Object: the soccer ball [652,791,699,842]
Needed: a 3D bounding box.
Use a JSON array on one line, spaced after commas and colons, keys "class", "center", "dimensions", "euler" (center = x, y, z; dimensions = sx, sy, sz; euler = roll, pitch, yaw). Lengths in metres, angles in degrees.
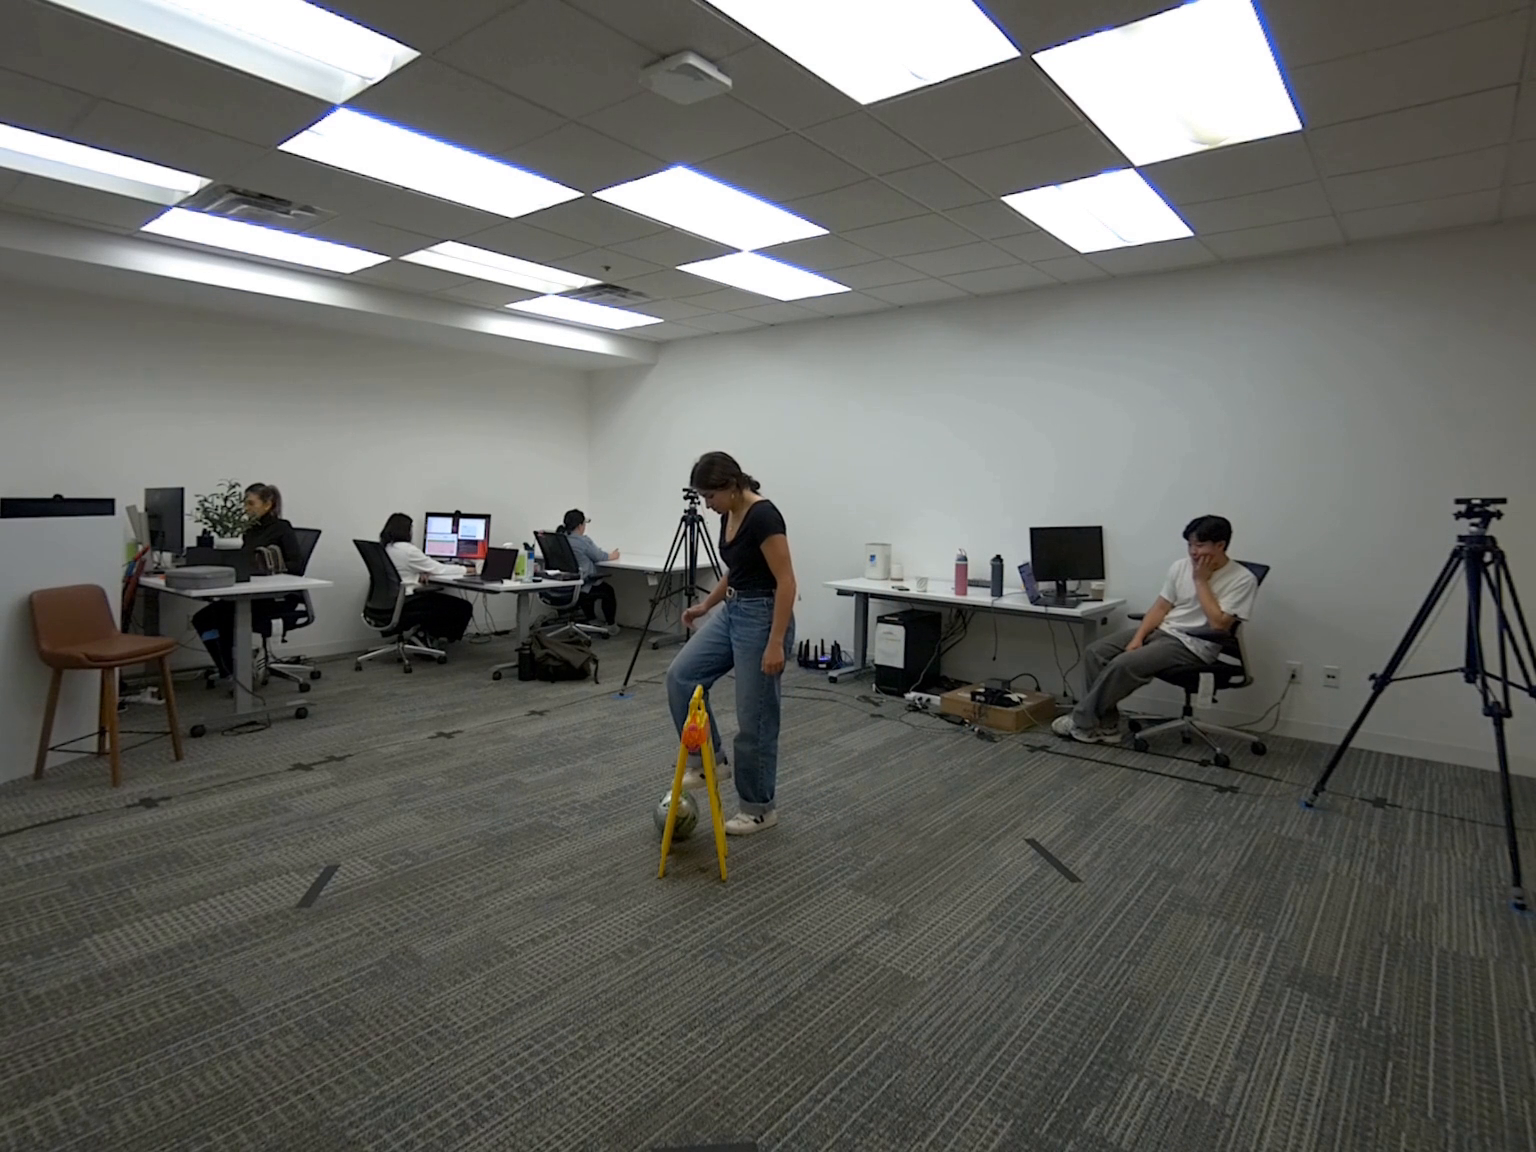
[{"class": "soccer ball", "center": [-0.369, 0.943, 3.401], "dimensions": [0.187, 0.187, 0.188], "euler": [1, 4, -2]}]
